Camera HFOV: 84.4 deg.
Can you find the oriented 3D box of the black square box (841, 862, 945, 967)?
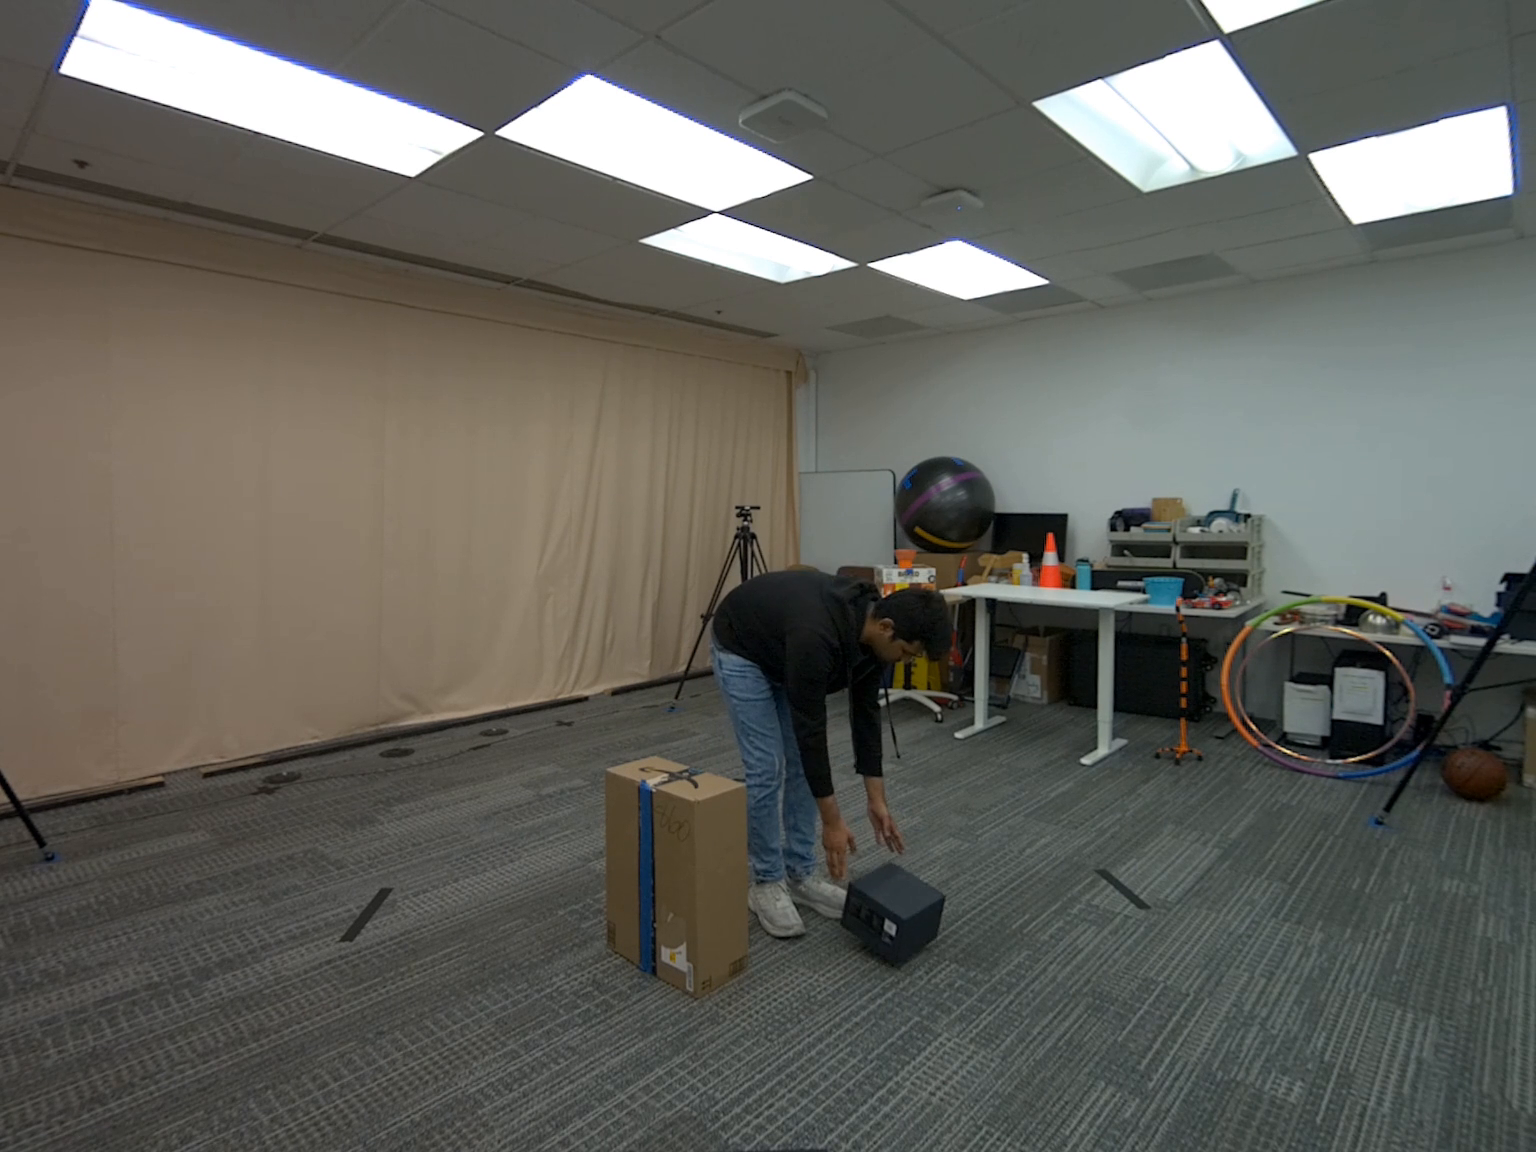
[{"bbox_3d":[0.391,1.027,2.635,0.221,0.155,0.225,-4,13,-45],"label":"black square box"}]
